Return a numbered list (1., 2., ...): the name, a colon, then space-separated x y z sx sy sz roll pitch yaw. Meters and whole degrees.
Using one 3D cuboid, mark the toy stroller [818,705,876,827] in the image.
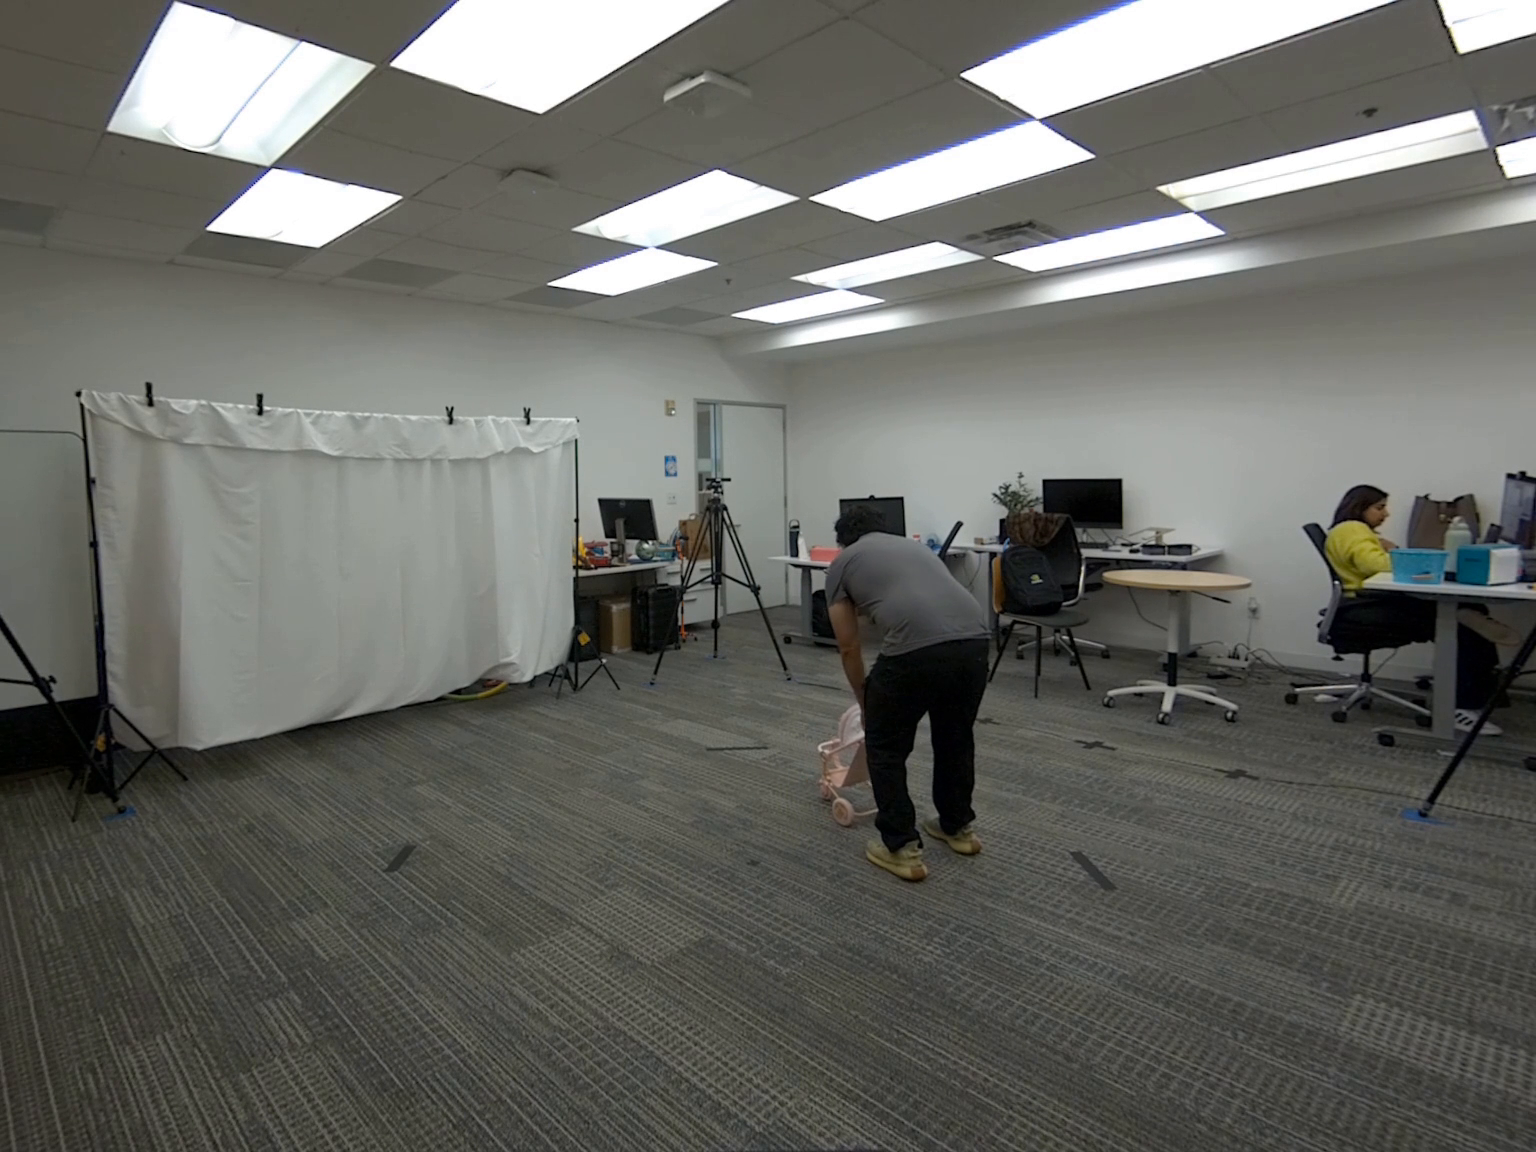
1. toy stroller: 0.364 0.761 3.534 0.275 0.528 0.354 -3 21 -31
